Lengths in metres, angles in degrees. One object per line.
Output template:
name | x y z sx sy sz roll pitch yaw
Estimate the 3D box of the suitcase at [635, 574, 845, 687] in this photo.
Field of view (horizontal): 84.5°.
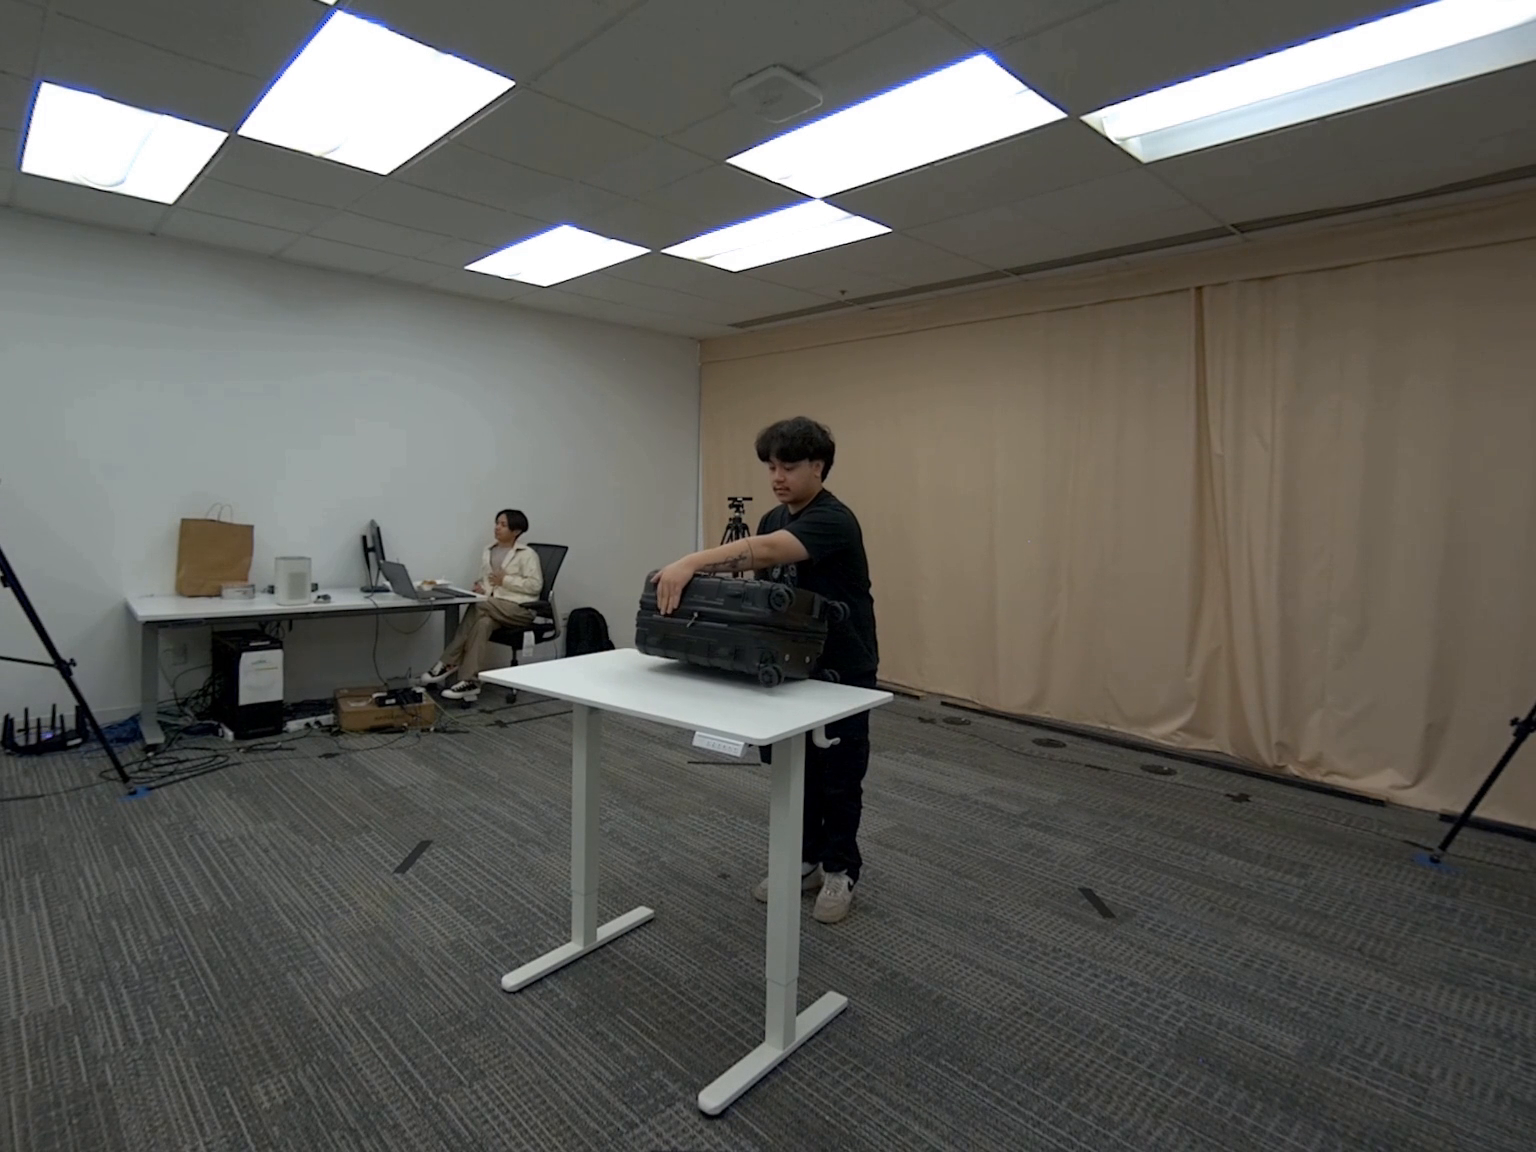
suitcase | -0.101 0.147 2.463 0.563 0.249 0.365 6 -4 37
